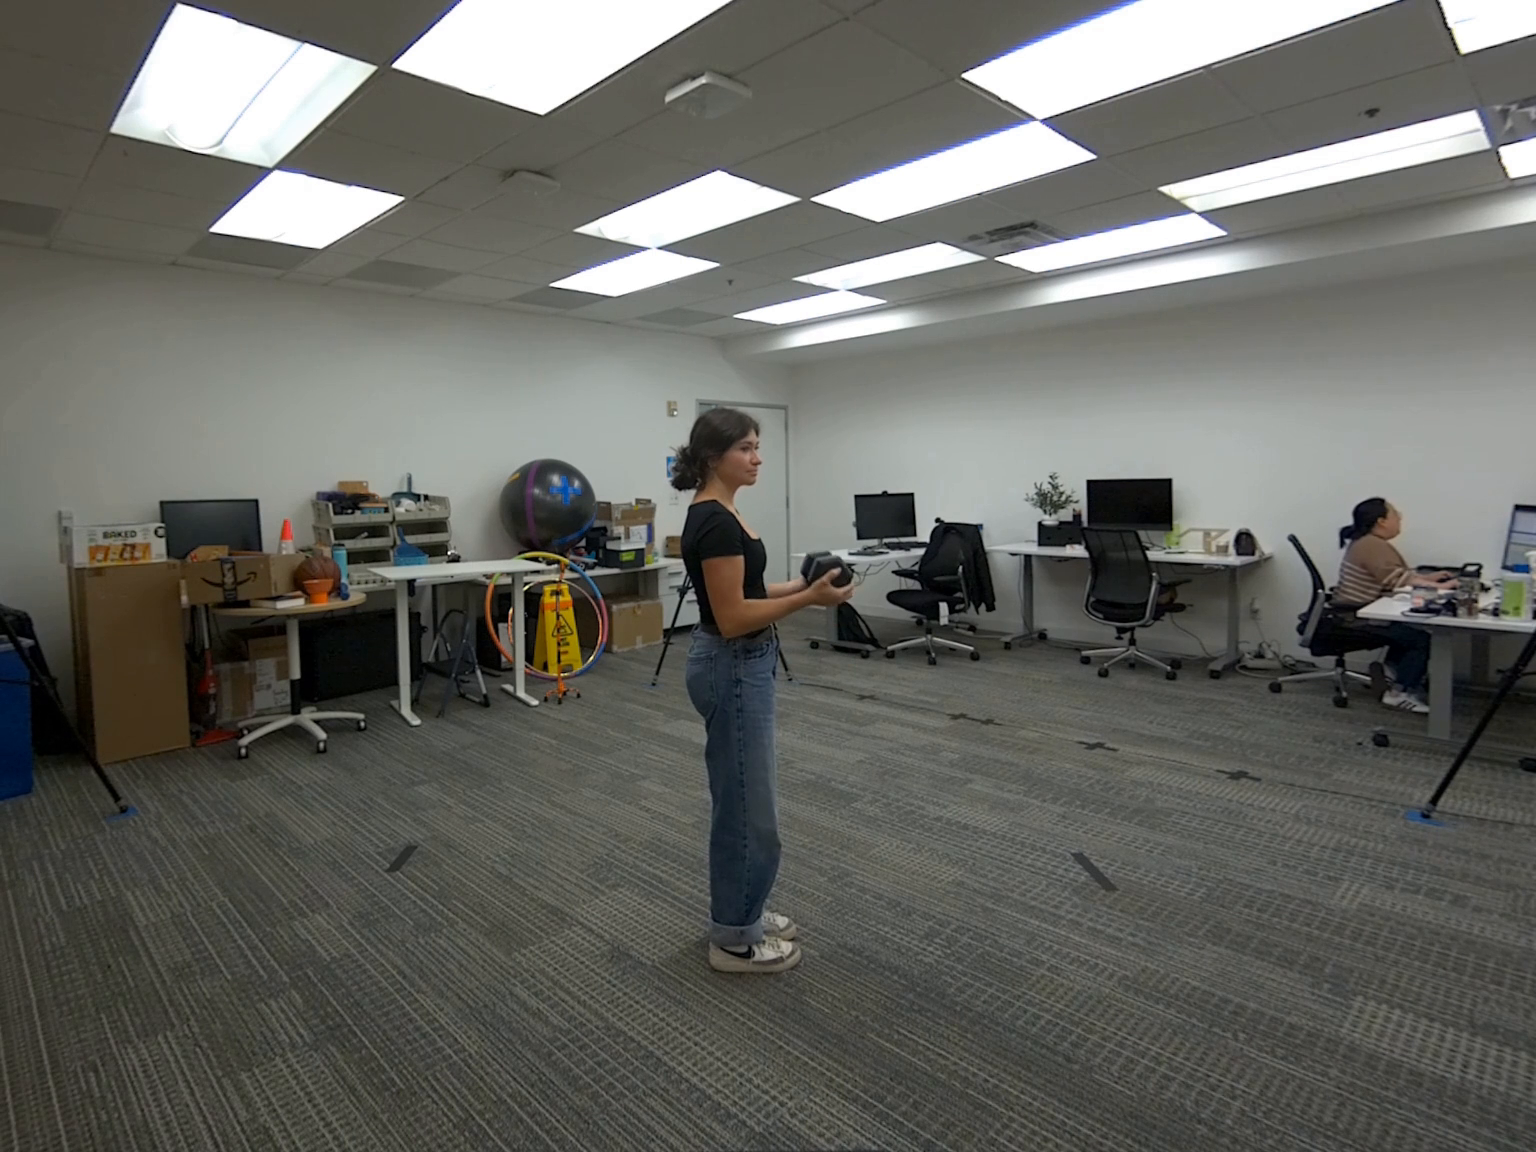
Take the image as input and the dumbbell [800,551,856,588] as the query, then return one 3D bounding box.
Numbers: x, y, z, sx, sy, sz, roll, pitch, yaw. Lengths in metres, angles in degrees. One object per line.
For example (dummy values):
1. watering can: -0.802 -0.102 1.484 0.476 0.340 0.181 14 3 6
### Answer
1. dumbbell: 0.158 -0.004 2.457 0.108 0.123 0.295 27 3 -6
